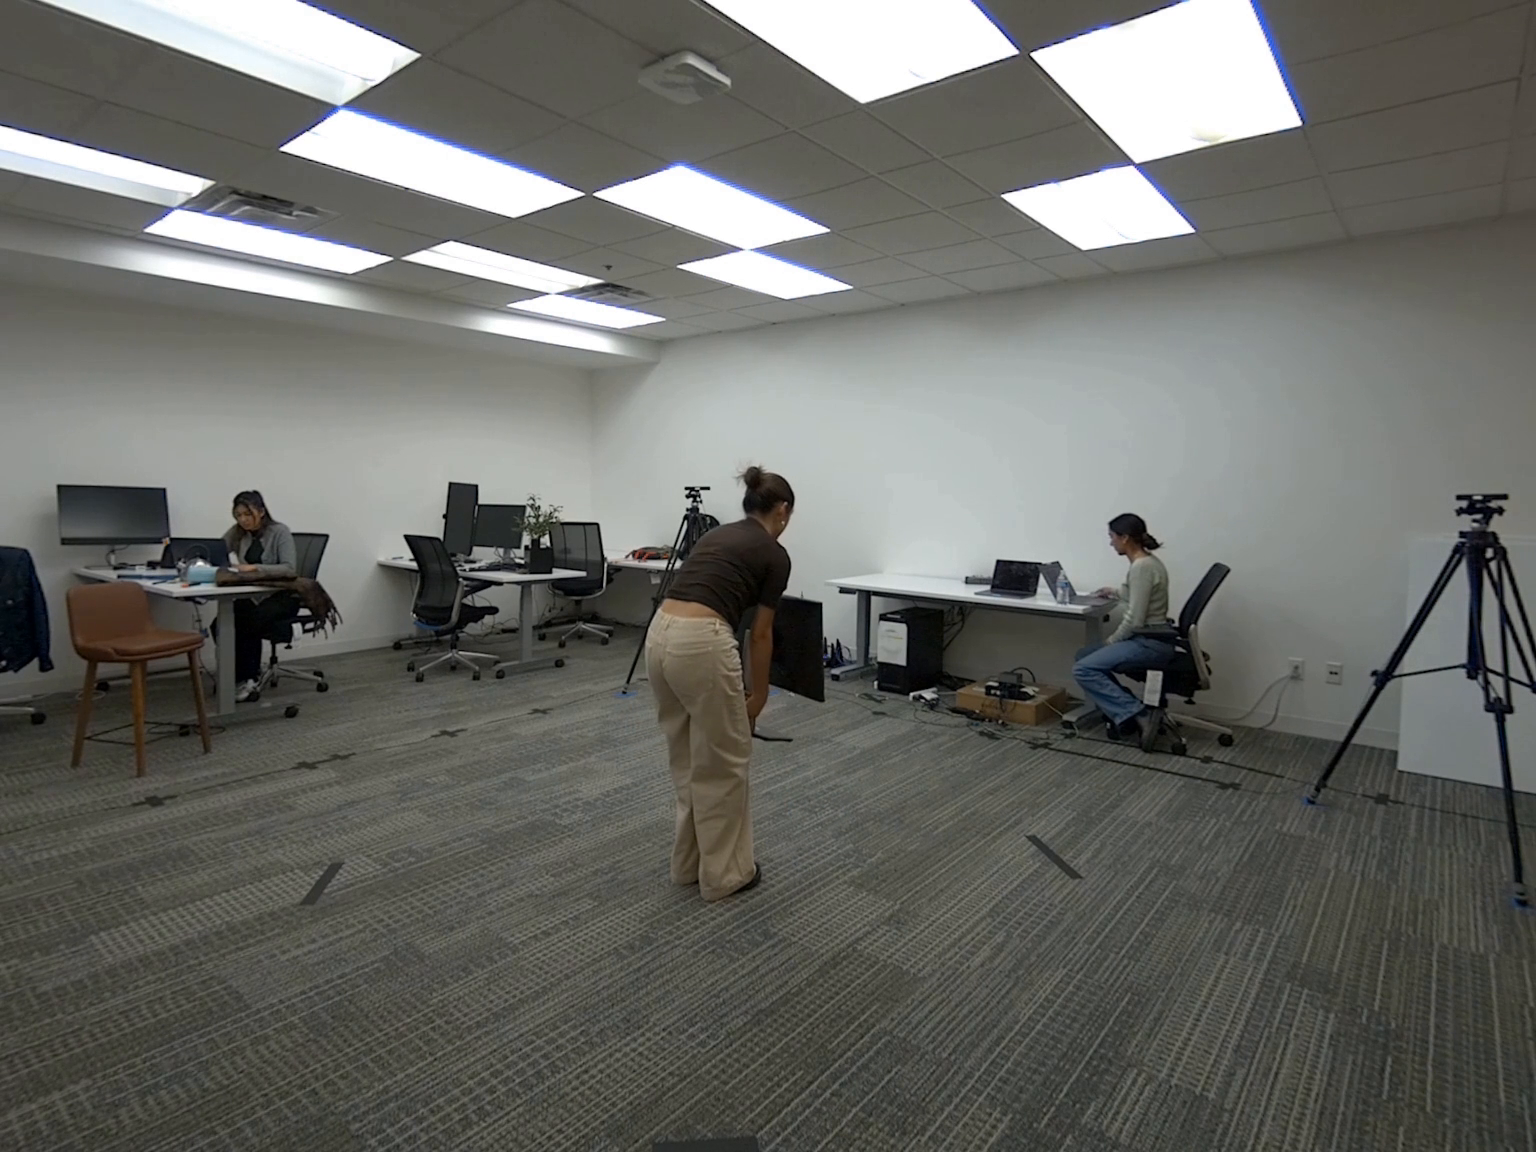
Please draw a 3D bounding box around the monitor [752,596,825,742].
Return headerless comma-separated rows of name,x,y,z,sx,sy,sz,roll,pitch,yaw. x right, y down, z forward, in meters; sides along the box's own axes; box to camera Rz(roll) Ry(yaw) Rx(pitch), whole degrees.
monitor,-0.019,0.321,3.104,0.180,0.523,0.558,10,0,-39
